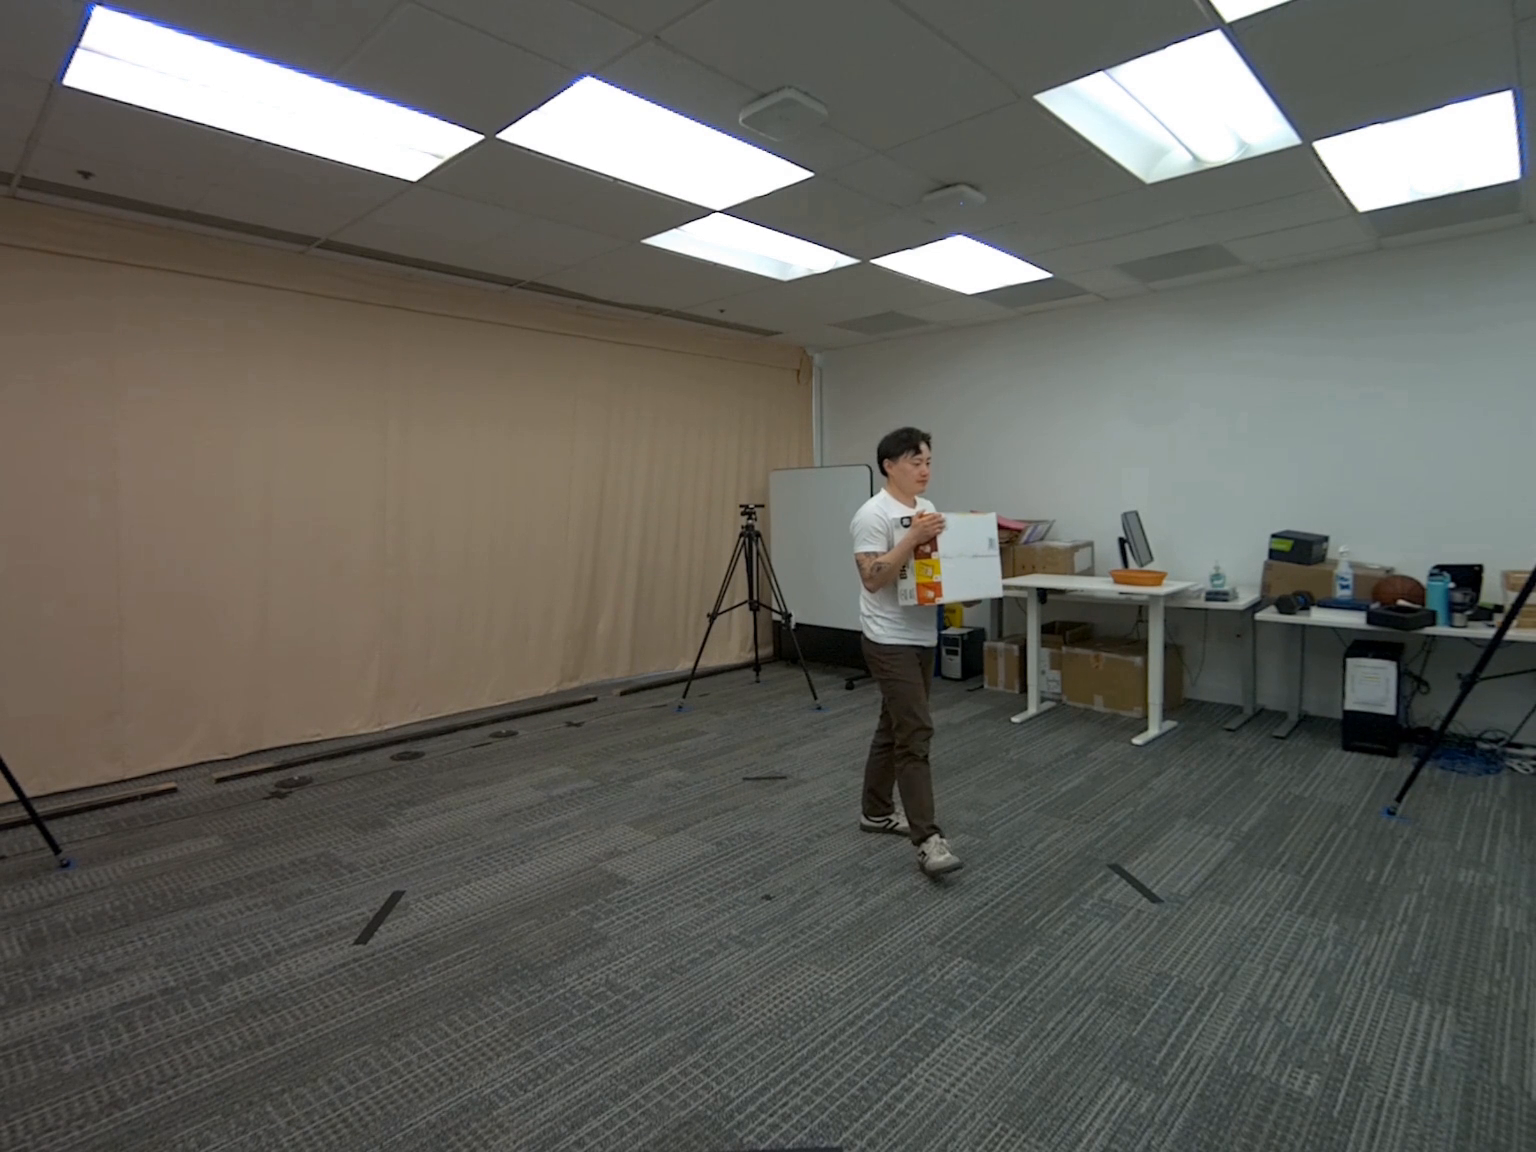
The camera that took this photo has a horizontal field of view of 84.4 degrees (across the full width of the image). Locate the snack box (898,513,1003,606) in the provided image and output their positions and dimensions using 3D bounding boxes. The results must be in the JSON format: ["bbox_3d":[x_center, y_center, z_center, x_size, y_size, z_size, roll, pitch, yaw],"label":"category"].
[{"bbox_3d":[0.703,-0.068,3.273,0.393,0.341,0.212,-4,-1,-41],"label":"snack box"}]
